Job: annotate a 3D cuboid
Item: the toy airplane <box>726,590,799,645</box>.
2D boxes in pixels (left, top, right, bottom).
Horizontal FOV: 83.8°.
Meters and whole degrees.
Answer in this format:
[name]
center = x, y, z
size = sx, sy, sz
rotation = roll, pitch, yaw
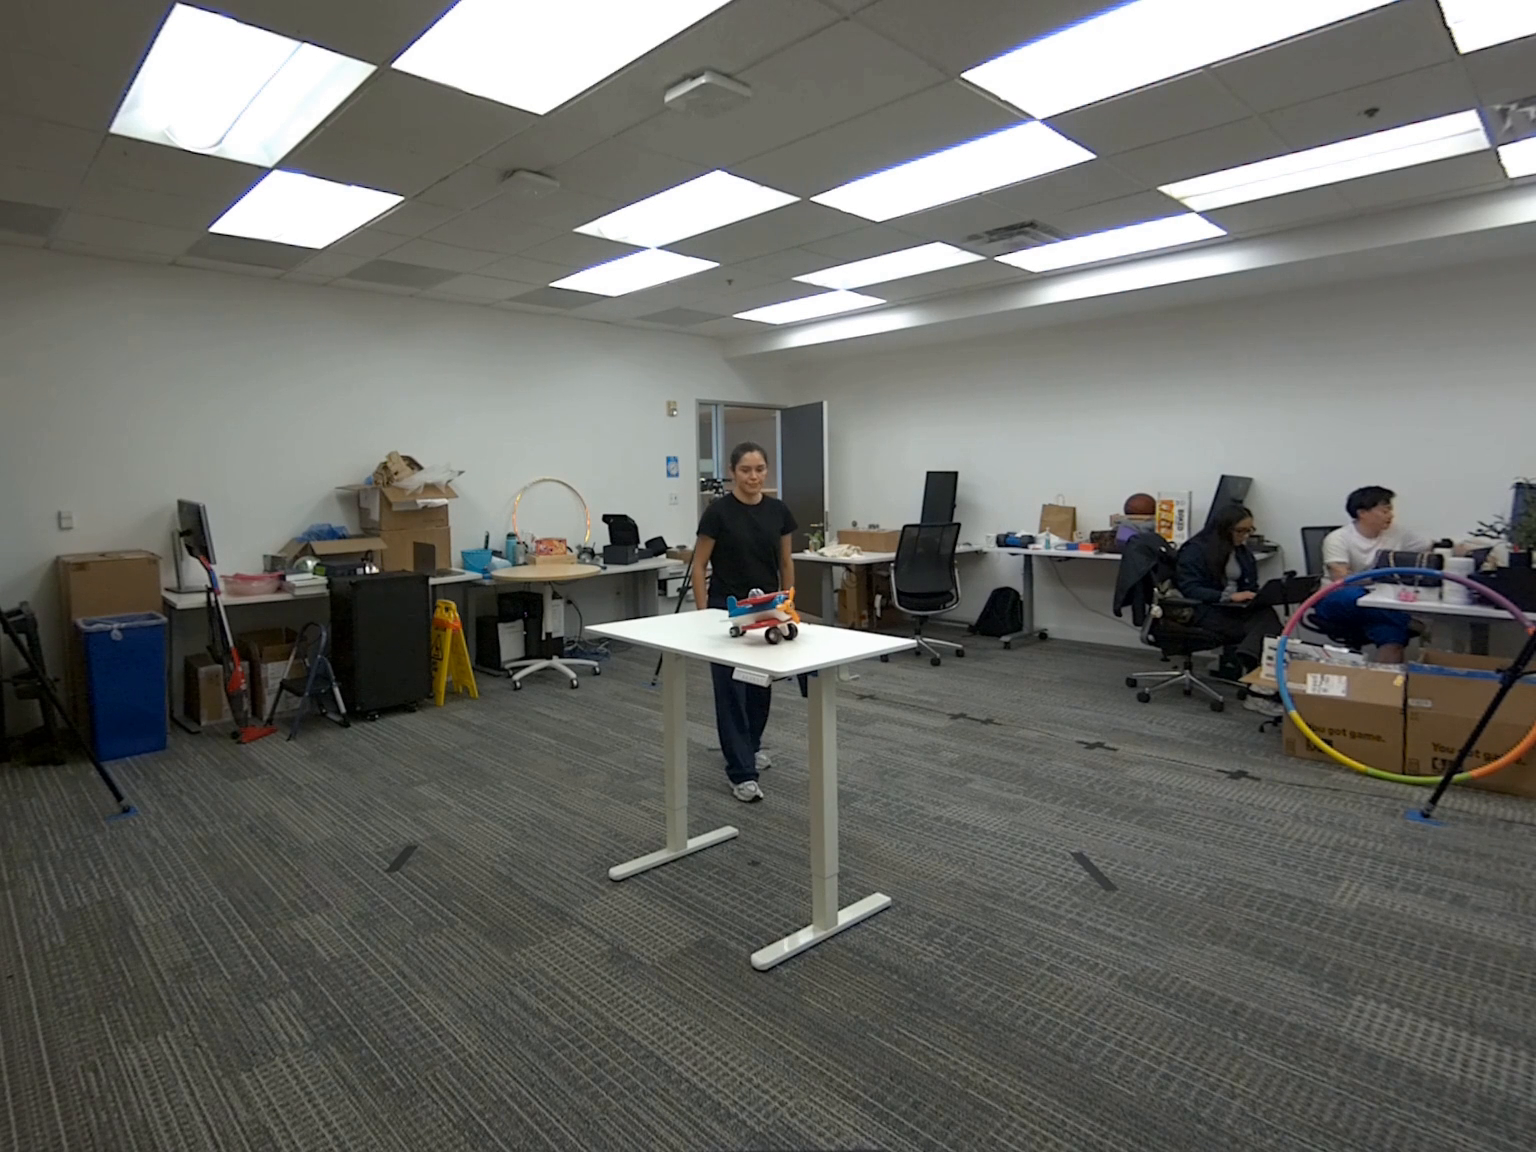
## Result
[toy airplane]
center = -0.034, 0.130, 2.736
size = 0.262, 0.156, 0.250
rotation = 0, 6, 10
